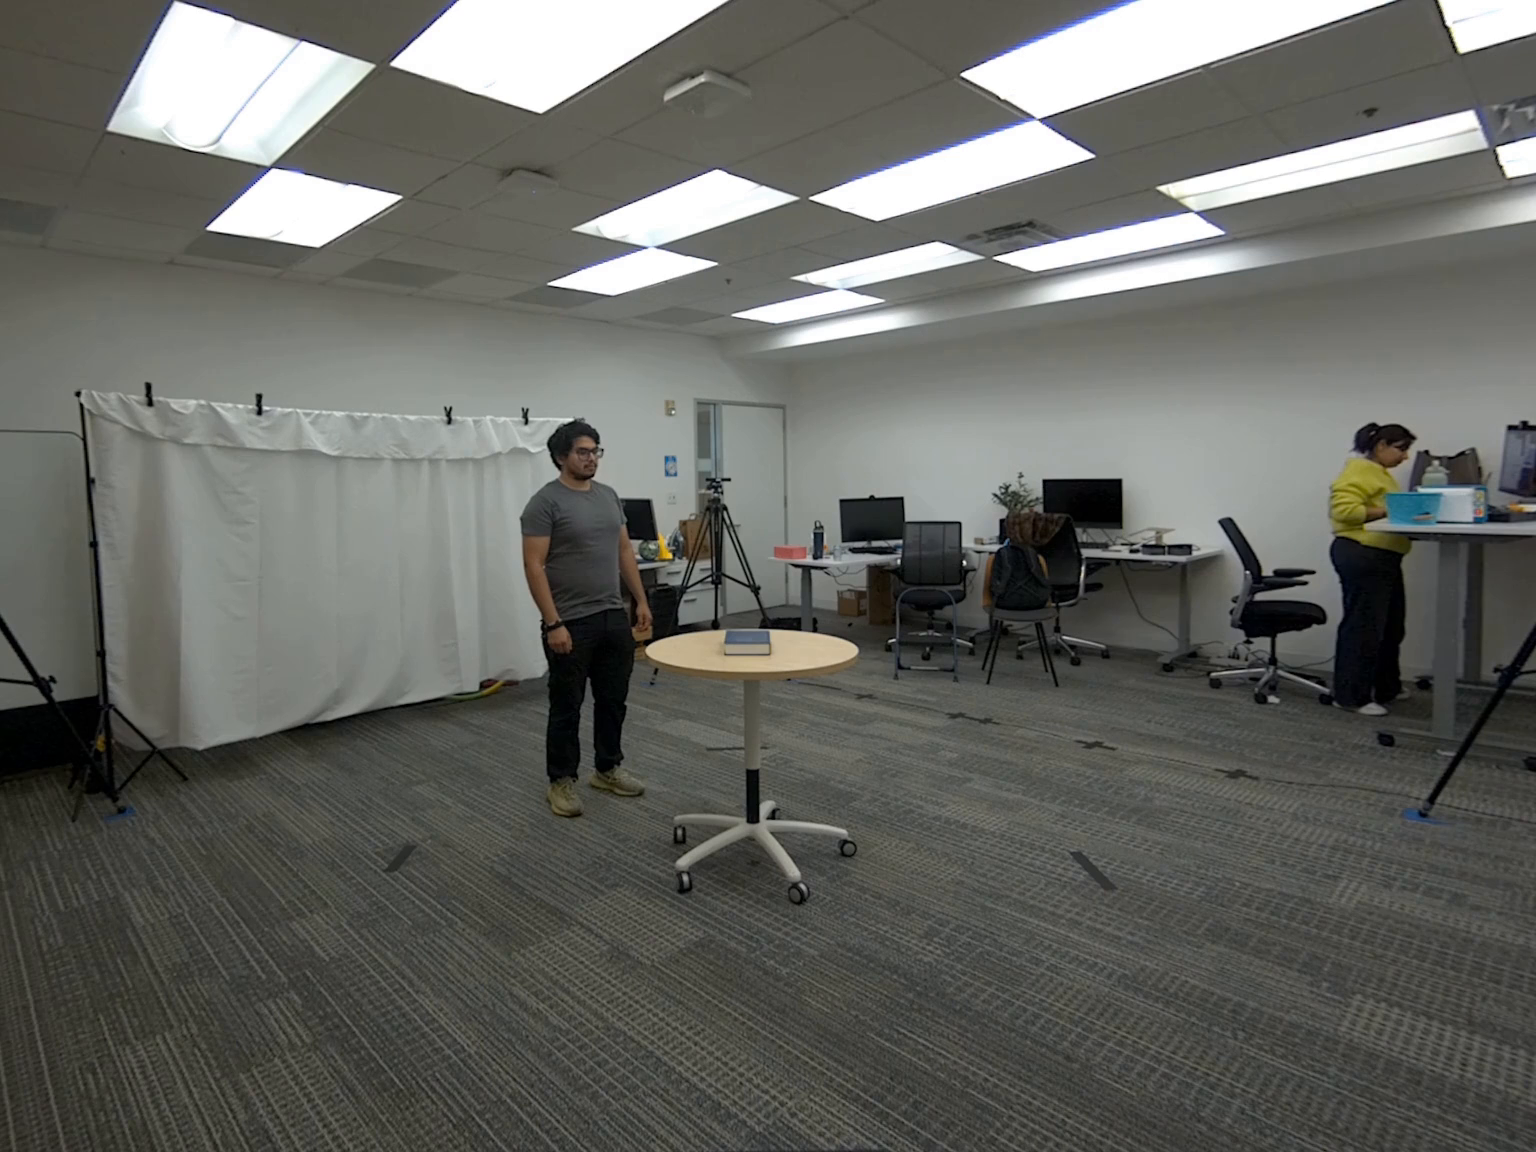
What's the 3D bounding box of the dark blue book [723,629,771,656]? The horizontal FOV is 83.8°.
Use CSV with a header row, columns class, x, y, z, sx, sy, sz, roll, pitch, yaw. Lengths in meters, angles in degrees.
class,x,y,z,sx,sy,sz,roll,pitch,yaw
dark blue book,-0.064,0.242,3.081,0.163,0.045,0.246,-1,6,0
